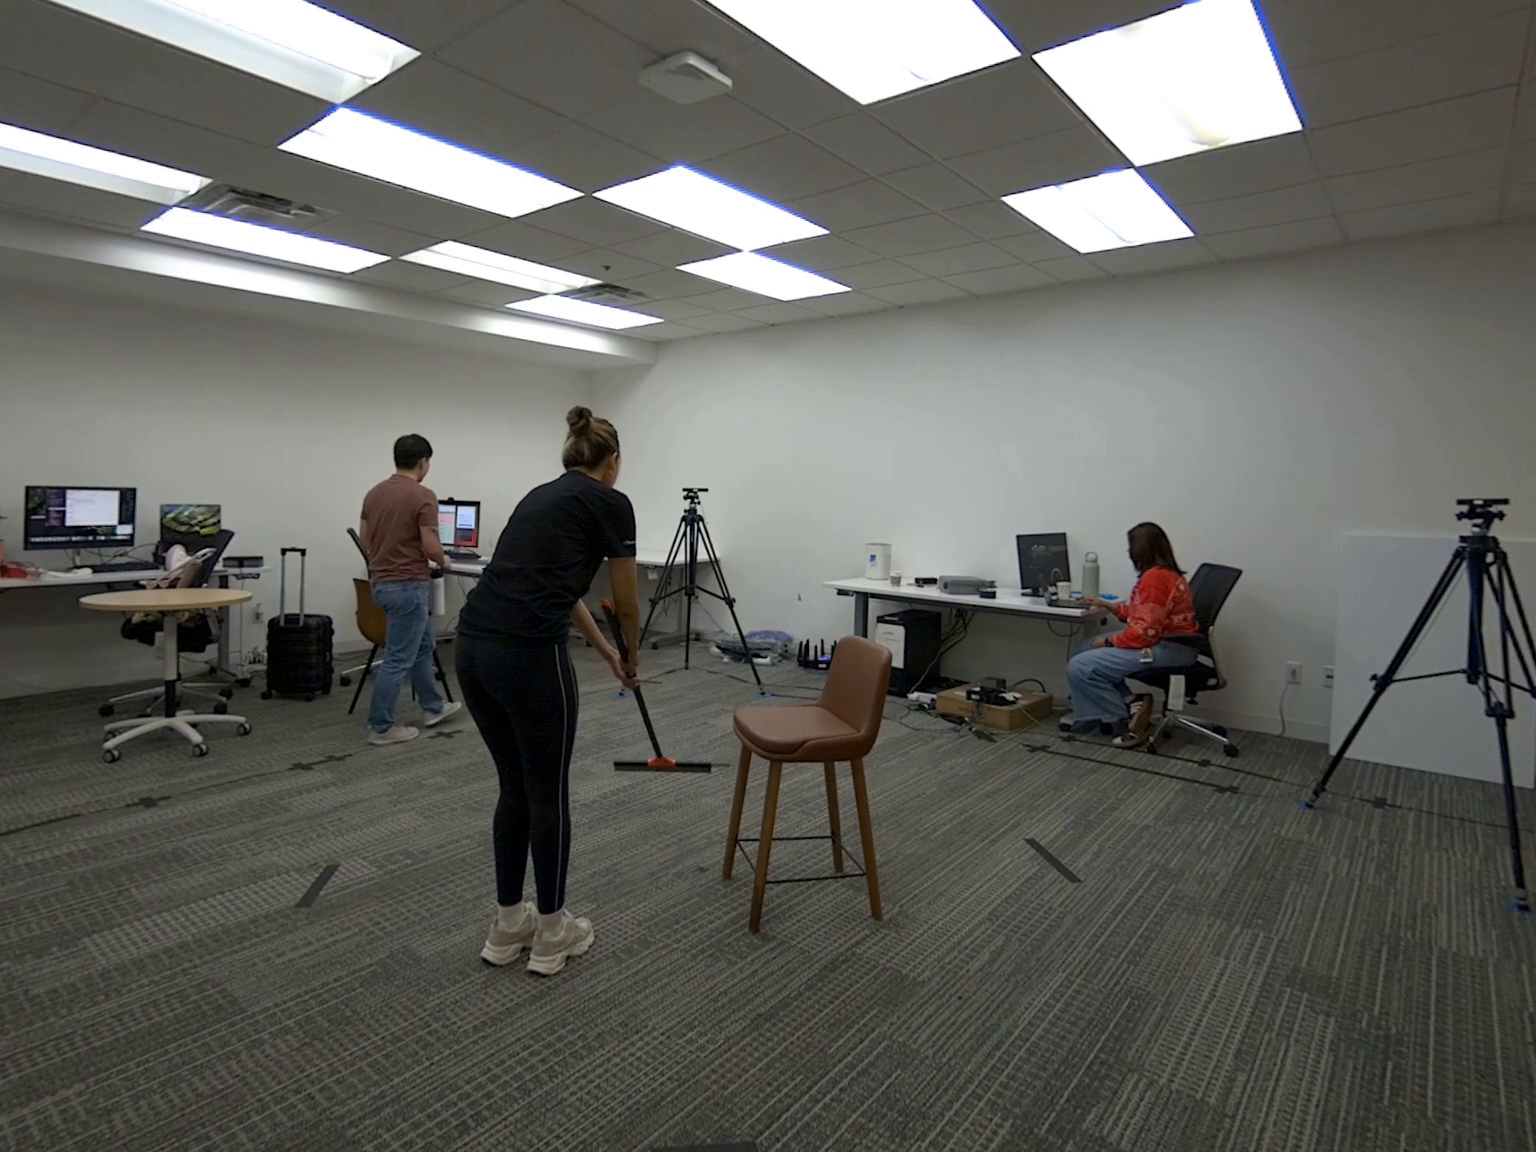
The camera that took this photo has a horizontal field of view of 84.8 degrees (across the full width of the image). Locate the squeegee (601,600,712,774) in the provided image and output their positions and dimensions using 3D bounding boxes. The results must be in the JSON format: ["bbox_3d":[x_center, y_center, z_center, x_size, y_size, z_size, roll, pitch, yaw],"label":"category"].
[{"bbox_3d":[-0.521,0.471,3.167,0.440,0.054,1.492,1,-31,4],"label":"squeegee"}]
